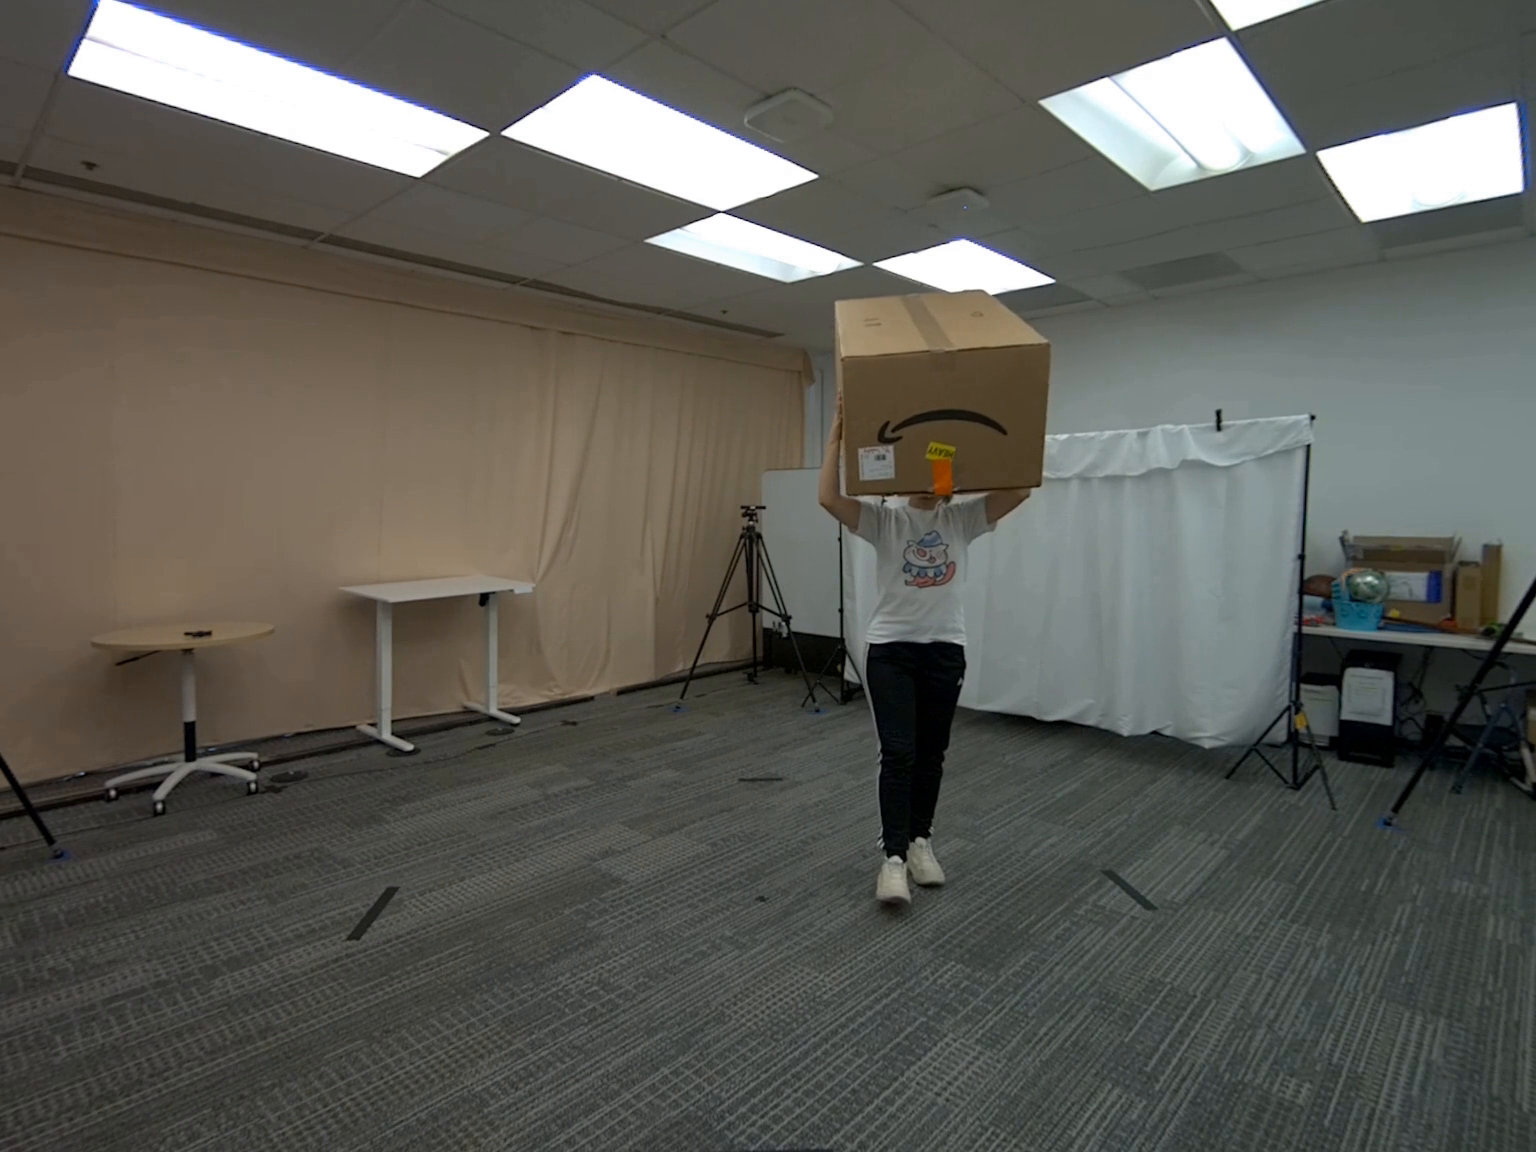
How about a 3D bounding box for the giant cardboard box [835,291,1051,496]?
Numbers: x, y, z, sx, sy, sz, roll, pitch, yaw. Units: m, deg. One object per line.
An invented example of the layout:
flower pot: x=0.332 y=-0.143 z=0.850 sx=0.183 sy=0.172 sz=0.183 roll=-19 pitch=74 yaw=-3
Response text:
giant cardboard box: x=0.534 y=-0.665 z=2.883 sx=0.588 sy=0.439 sz=1.037 roll=-2 pitch=27 yaw=5
